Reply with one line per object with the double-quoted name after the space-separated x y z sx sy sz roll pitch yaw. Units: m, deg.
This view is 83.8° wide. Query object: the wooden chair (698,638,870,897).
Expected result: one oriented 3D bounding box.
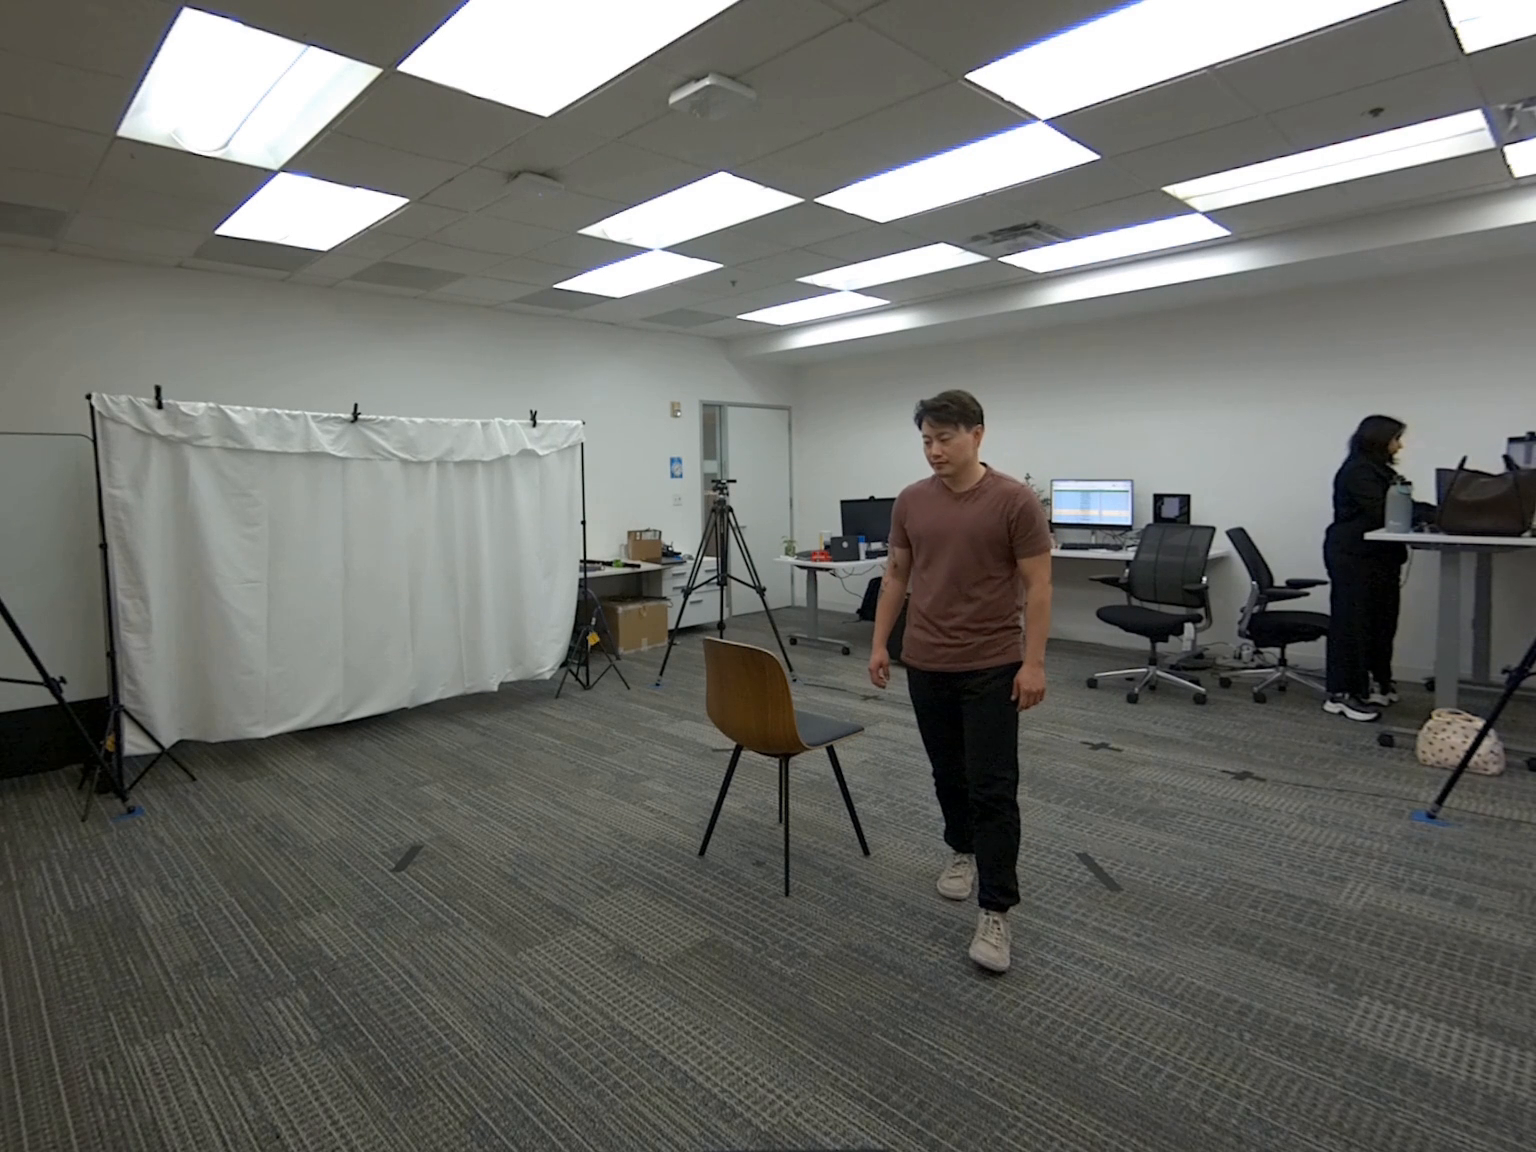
0.060 0.614 3.150 0.493 0.872 0.511 3 9 45 "wooden chair"
